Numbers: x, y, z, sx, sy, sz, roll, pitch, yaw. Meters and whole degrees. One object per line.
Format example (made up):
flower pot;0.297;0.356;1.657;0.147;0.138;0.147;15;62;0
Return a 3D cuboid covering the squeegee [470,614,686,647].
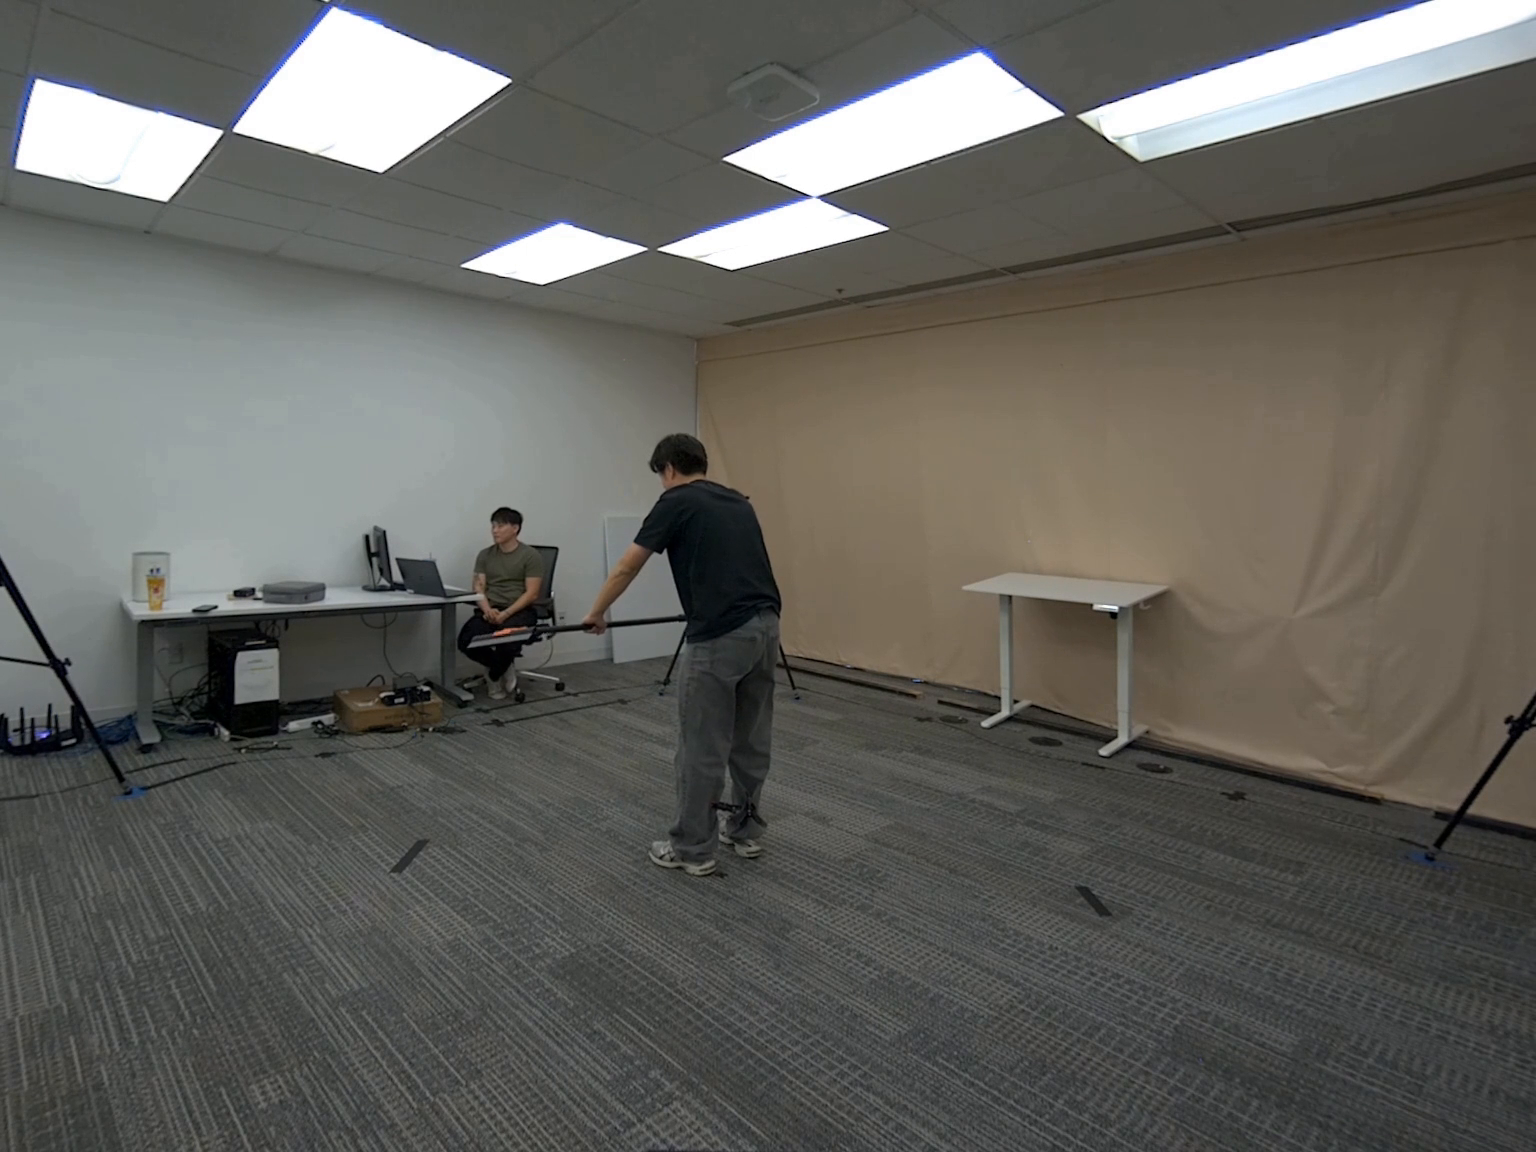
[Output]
squeegee;-0.448;0.193;3.556;0.444;0.053;1.502;-16;-9;41
